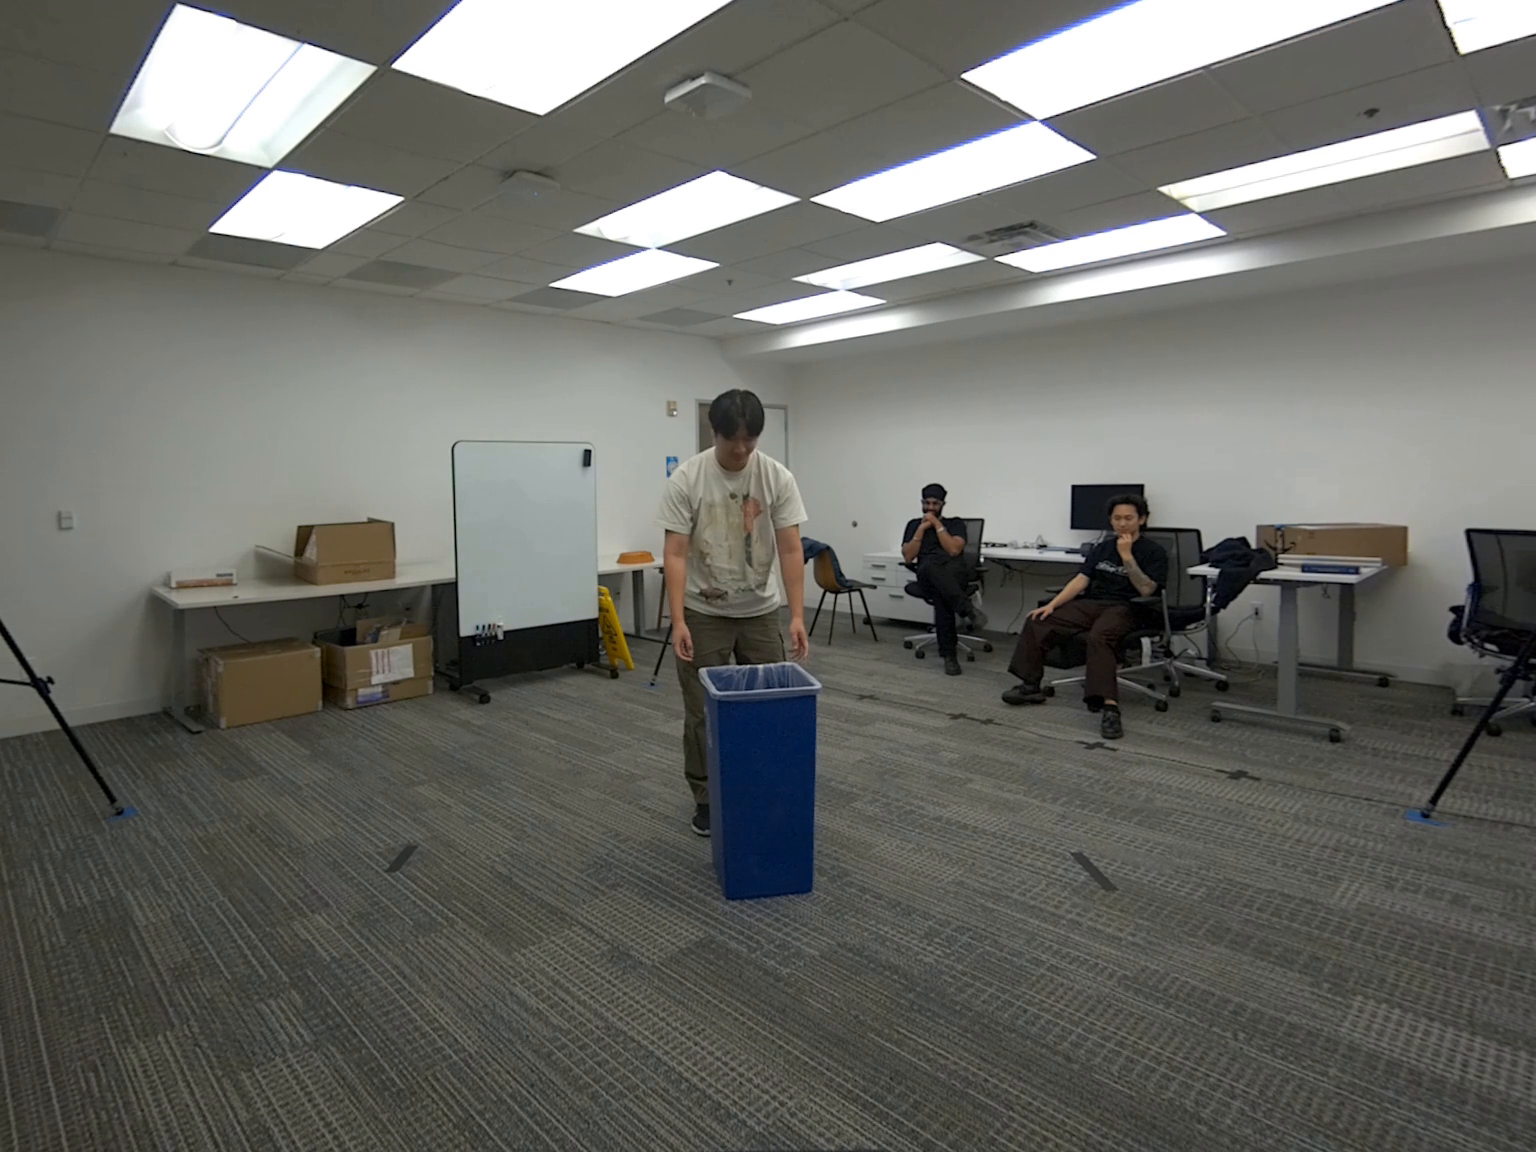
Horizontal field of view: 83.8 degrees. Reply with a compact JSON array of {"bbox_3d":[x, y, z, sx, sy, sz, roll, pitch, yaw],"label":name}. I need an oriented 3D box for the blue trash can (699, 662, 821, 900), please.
[{"bbox_3d":[-0.031,0.704,2.973,0.374,0.711,0.379,-2,4,-11],"label":"blue trash can"}]
